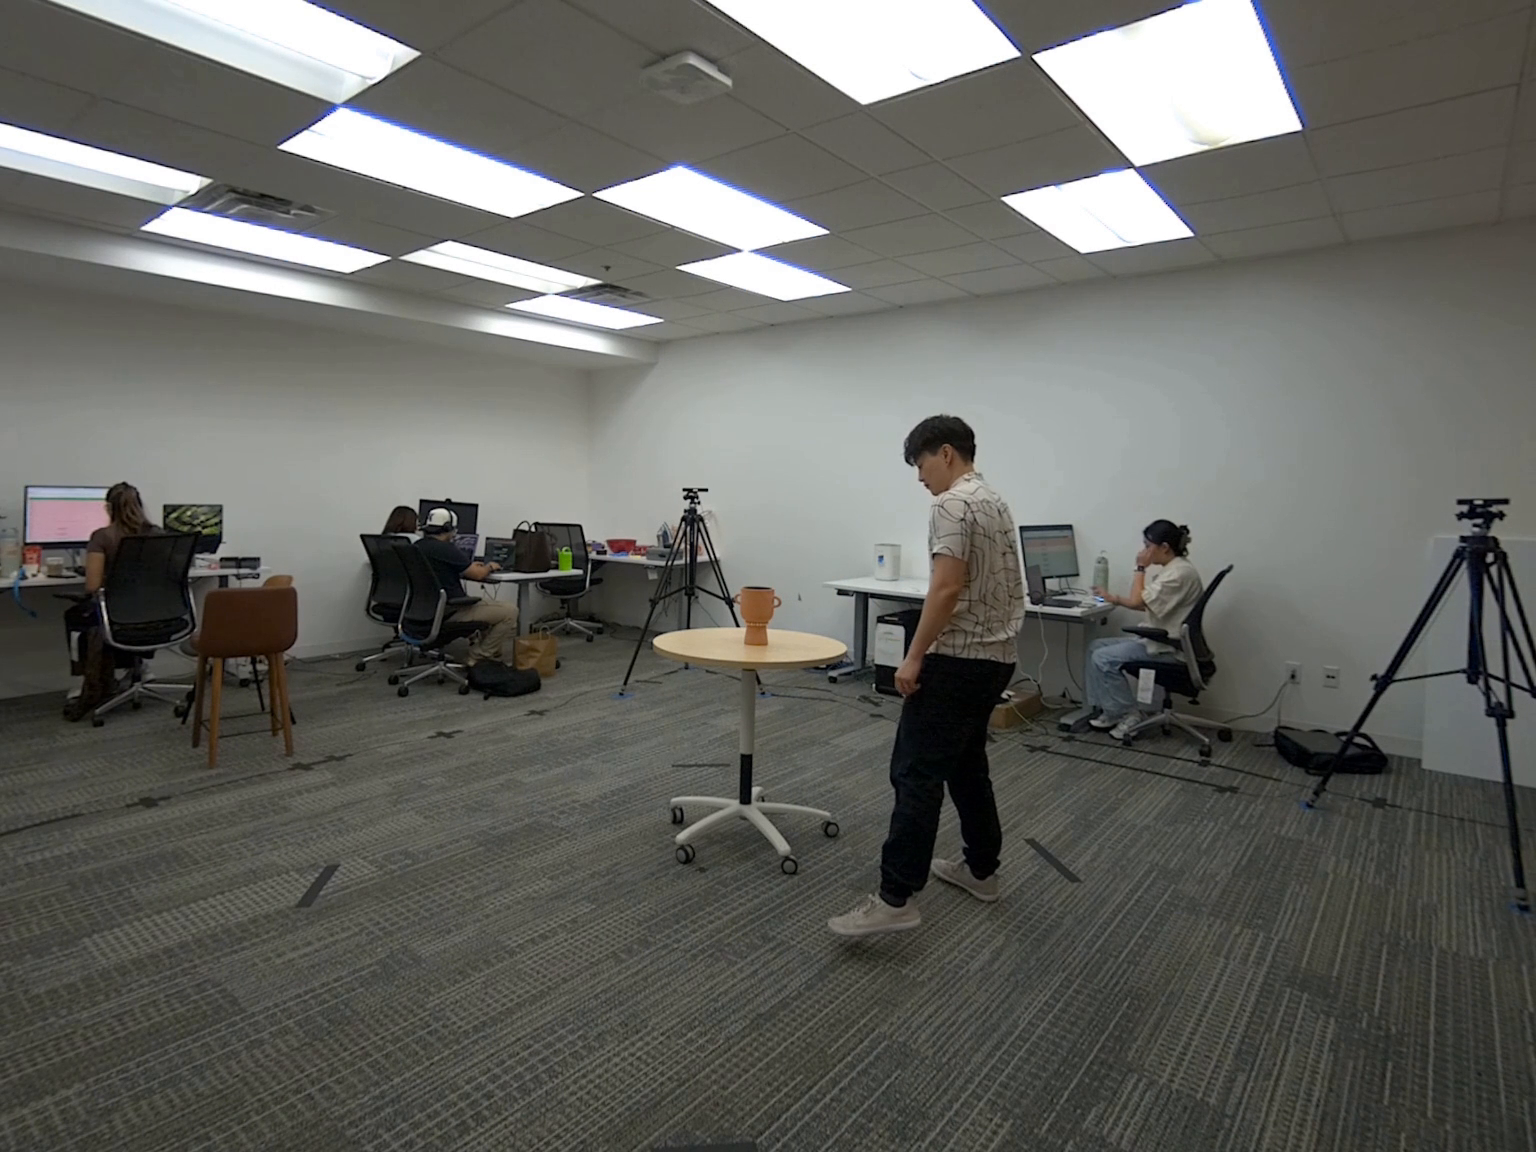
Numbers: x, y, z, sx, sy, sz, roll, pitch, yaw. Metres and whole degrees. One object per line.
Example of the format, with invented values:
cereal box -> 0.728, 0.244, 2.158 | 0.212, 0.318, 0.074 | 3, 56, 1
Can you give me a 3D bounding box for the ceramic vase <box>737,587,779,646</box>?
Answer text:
ceramic vase -> -0.052, 0.155, 3.361 | 0.131, 0.219, 0.163 | 1, 4, -29
